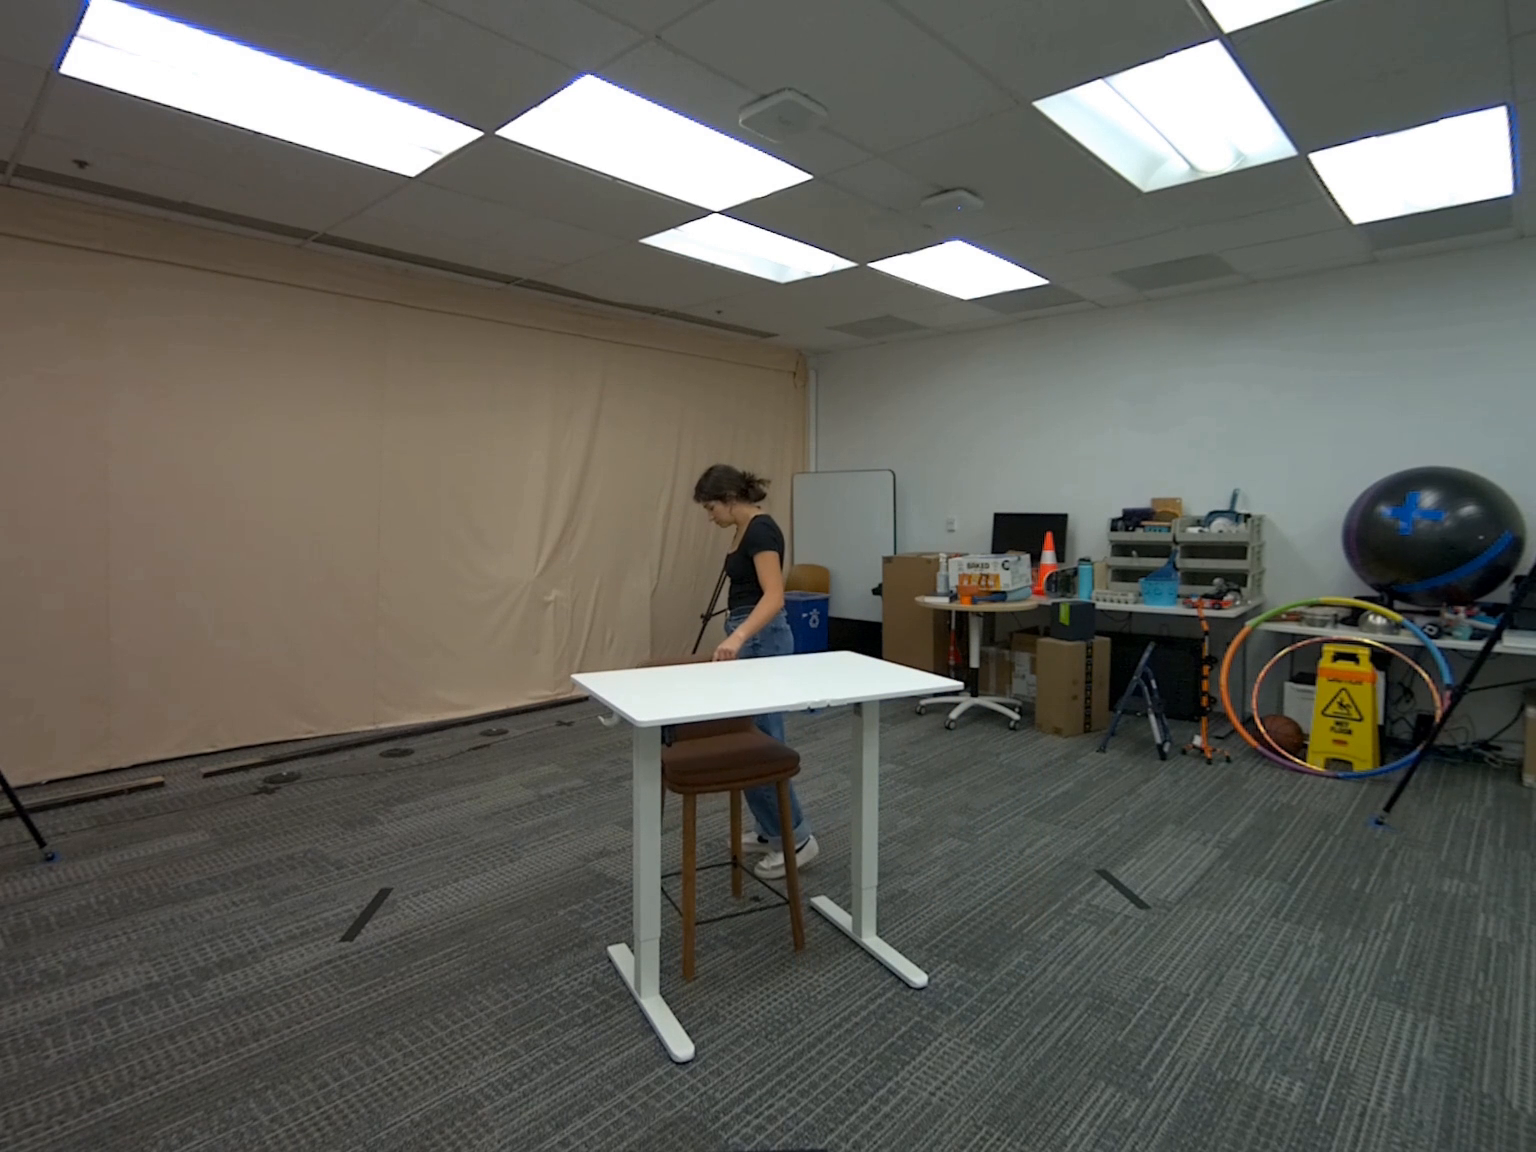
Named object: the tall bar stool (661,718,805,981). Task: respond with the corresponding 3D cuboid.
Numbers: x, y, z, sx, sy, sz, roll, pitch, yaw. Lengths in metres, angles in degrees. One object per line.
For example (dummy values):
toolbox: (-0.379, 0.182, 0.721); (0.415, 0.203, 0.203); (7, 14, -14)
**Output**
tall bar stool: (-0.173, 0.736, 2.733); (0.446, 0.889, 0.479); (-1, 1, -25)
